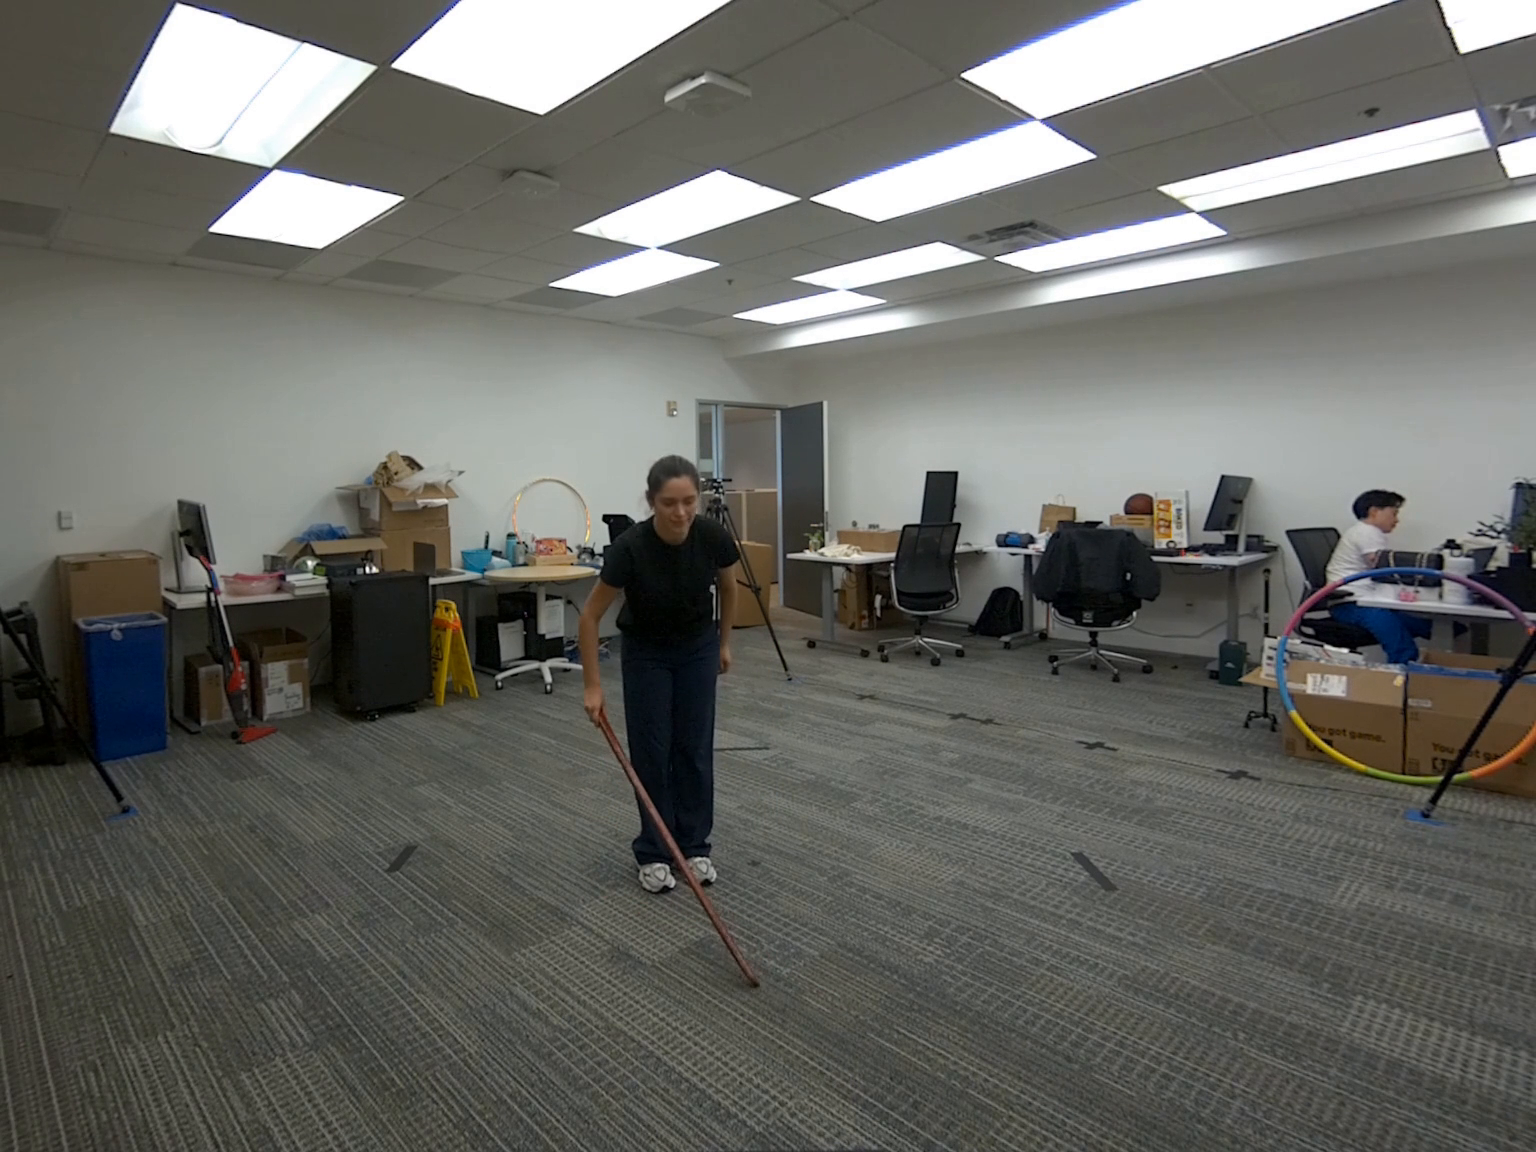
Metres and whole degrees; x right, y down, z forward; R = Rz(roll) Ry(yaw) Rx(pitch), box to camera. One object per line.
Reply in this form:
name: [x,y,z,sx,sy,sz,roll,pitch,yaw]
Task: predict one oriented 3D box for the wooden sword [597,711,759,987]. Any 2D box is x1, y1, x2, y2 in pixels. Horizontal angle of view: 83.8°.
wooden sword: [-0.314,0.772,2.616,0.050,0.024,1.061,-10,48,-41]
